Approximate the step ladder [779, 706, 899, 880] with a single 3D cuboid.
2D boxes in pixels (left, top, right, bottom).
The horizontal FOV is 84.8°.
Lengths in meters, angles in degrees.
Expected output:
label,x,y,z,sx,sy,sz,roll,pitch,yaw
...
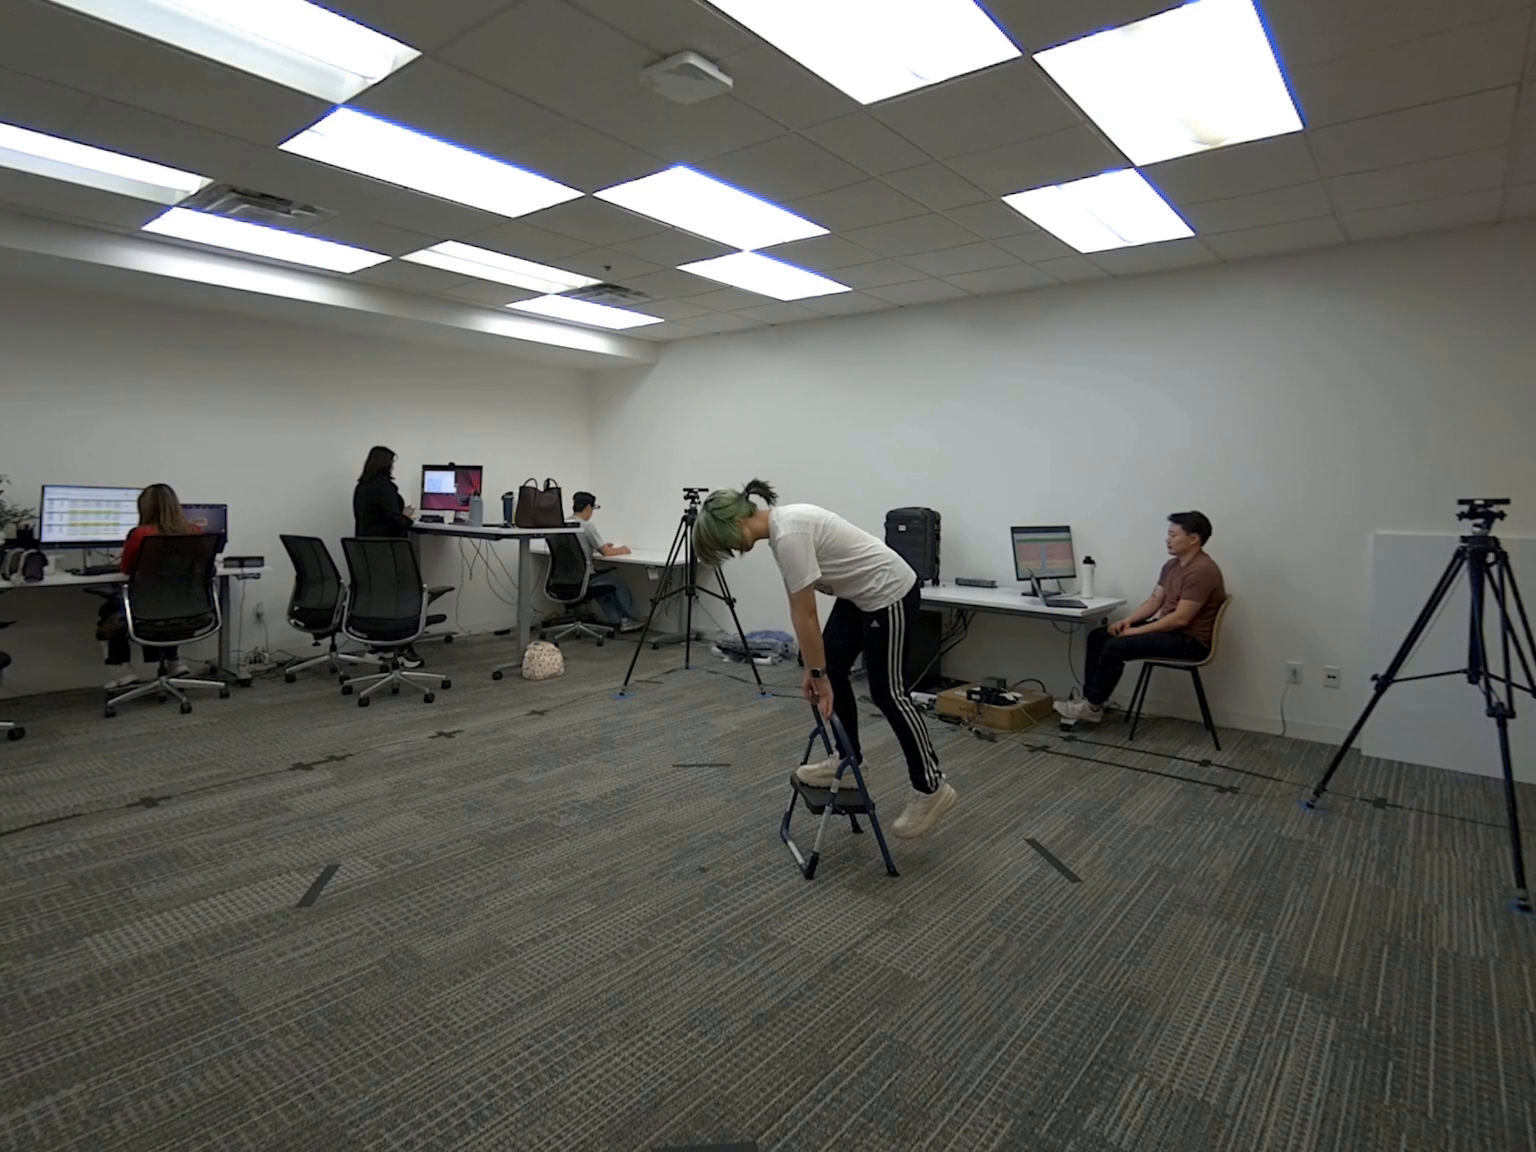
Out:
label,x,y,z,sx,sy,sz,roll,pitch,yaw
step ladder,0.259,0.768,3.253,0.345,0.604,0.437,1,4,-12
